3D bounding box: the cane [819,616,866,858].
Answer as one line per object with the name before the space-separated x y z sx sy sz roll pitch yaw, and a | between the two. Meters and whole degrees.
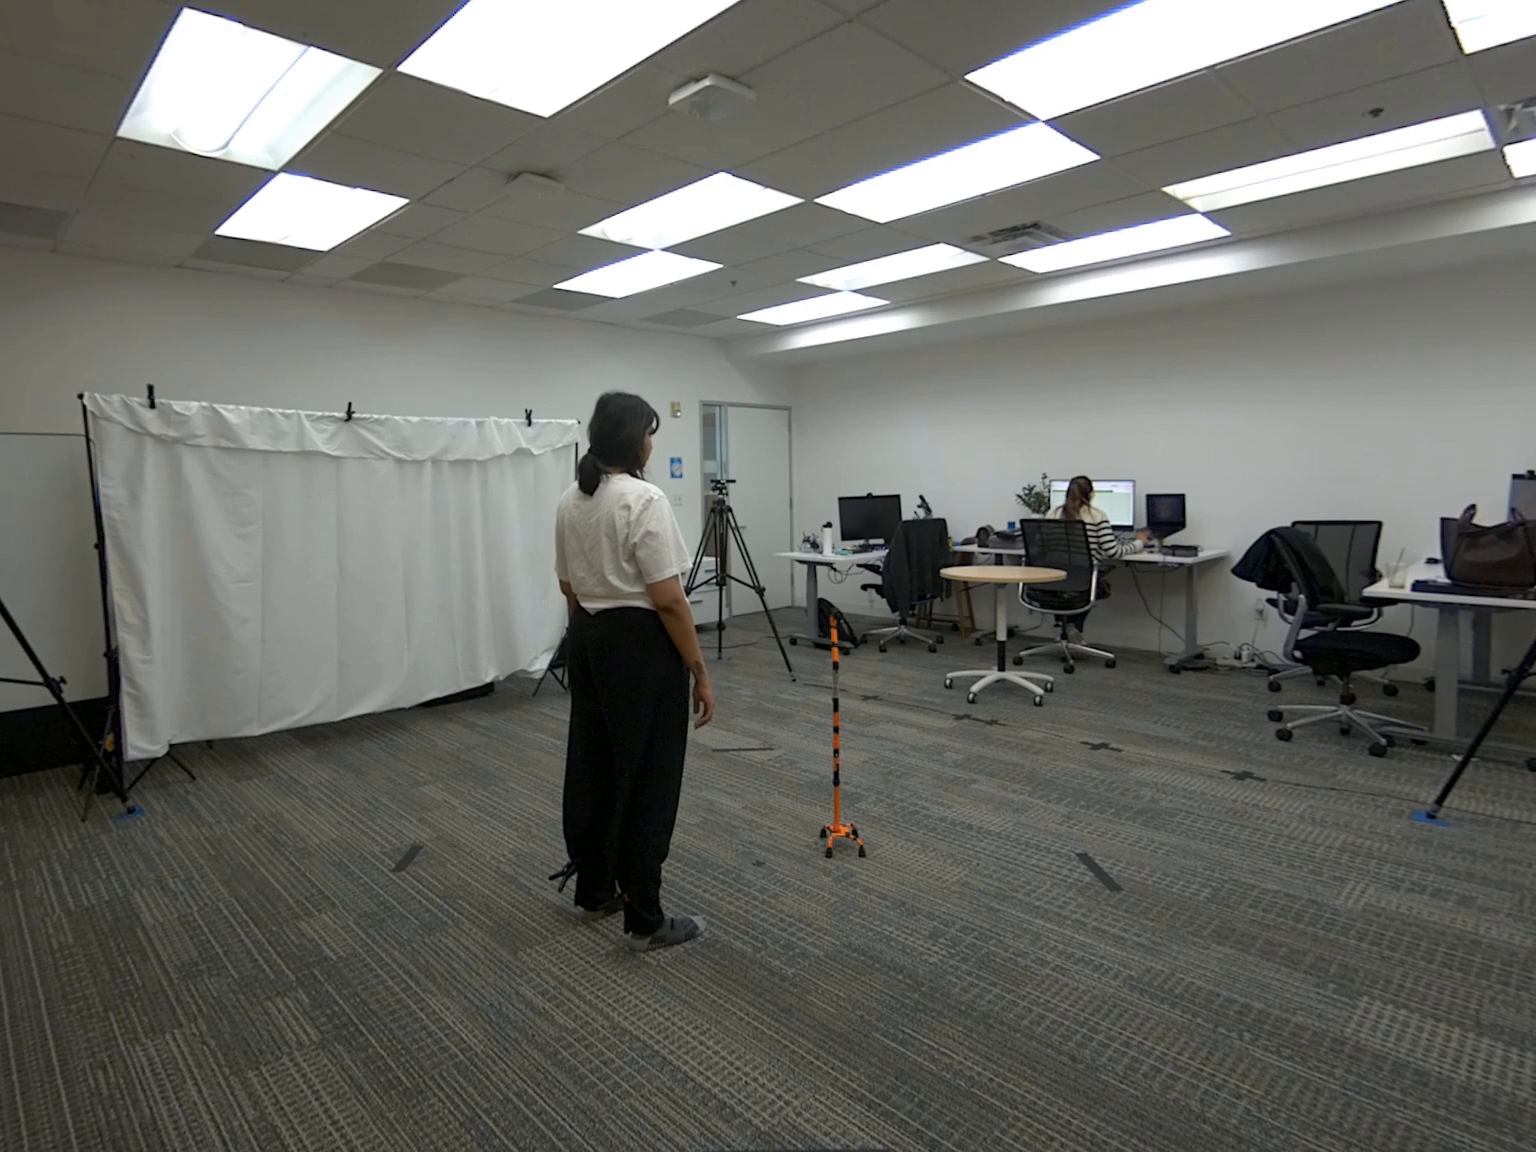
cane | 0.271 0.577 3.216 0.151 0.905 0.207 -2 4 -1
